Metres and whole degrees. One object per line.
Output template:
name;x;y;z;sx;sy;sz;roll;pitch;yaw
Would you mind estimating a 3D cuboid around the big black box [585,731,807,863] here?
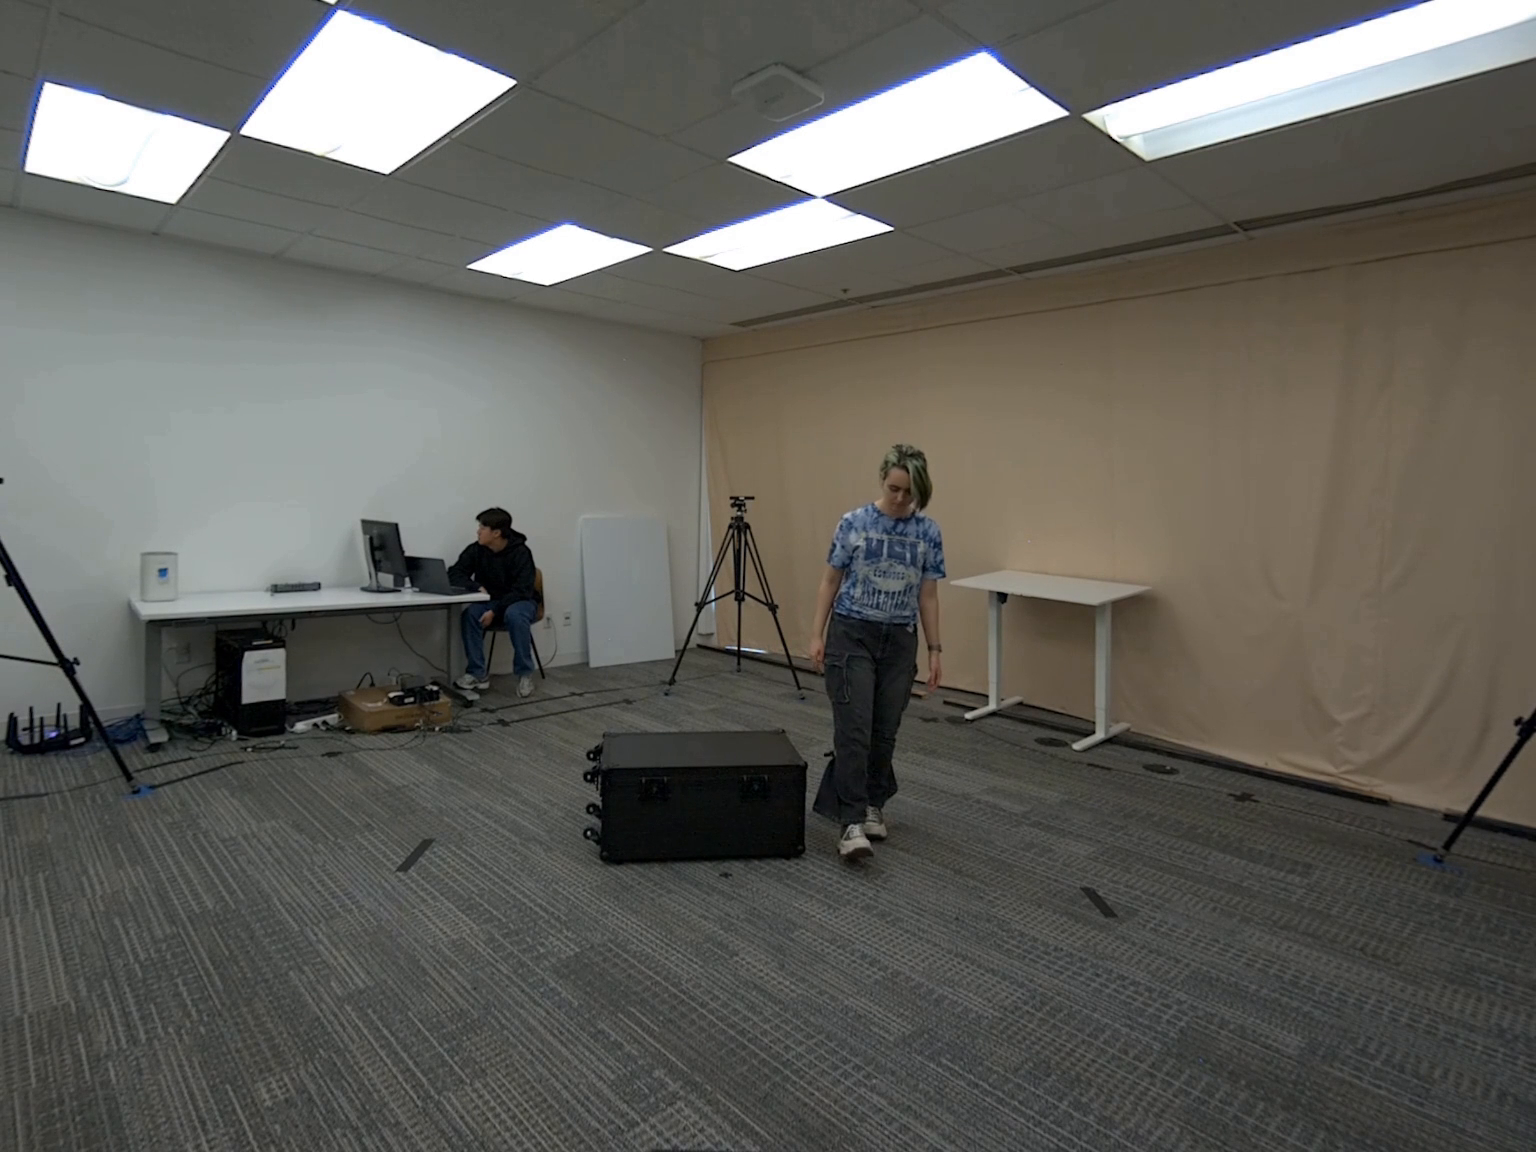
big black box;-0.258;0.882;3.423;0.856;0.395;0.526;0;4;-8
